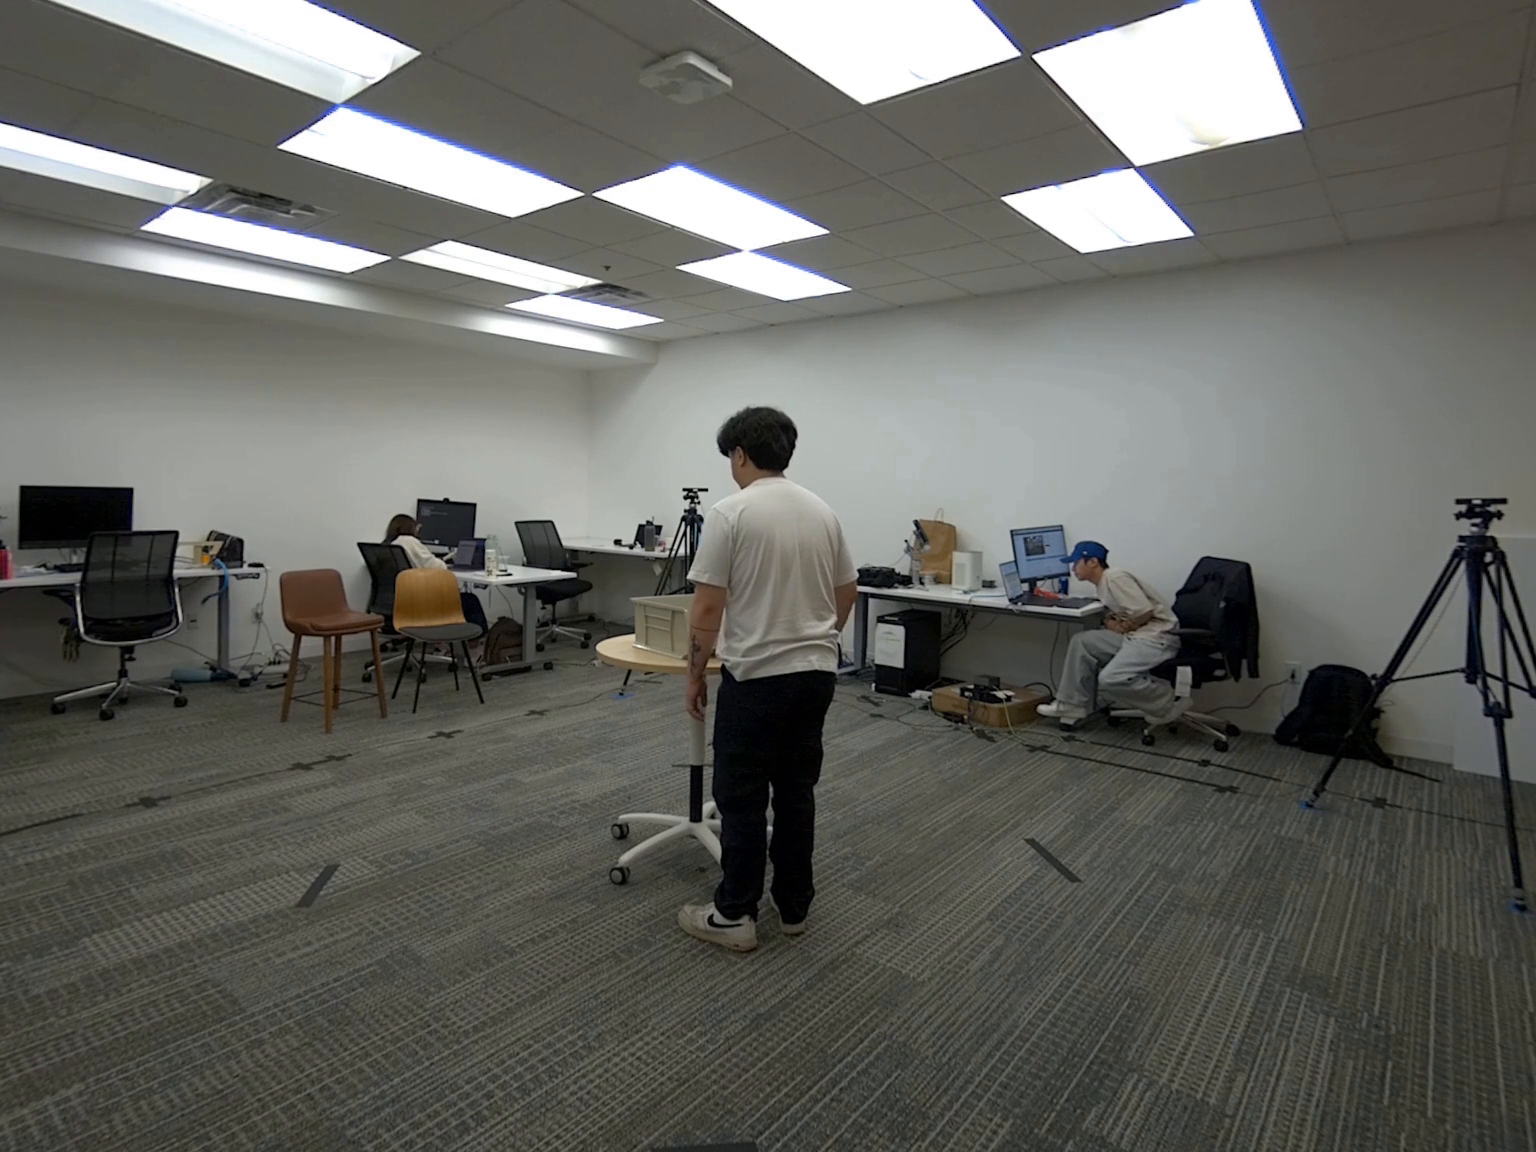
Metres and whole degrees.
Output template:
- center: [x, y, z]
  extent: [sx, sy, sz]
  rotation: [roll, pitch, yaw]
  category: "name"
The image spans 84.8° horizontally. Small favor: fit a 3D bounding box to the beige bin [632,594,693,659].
- center: [-0.243, 0.174, 3.143]
  extent: [0.410, 0.188, 0.390]
  rotation: [-5, 6, -40]
  category: "beige bin"
